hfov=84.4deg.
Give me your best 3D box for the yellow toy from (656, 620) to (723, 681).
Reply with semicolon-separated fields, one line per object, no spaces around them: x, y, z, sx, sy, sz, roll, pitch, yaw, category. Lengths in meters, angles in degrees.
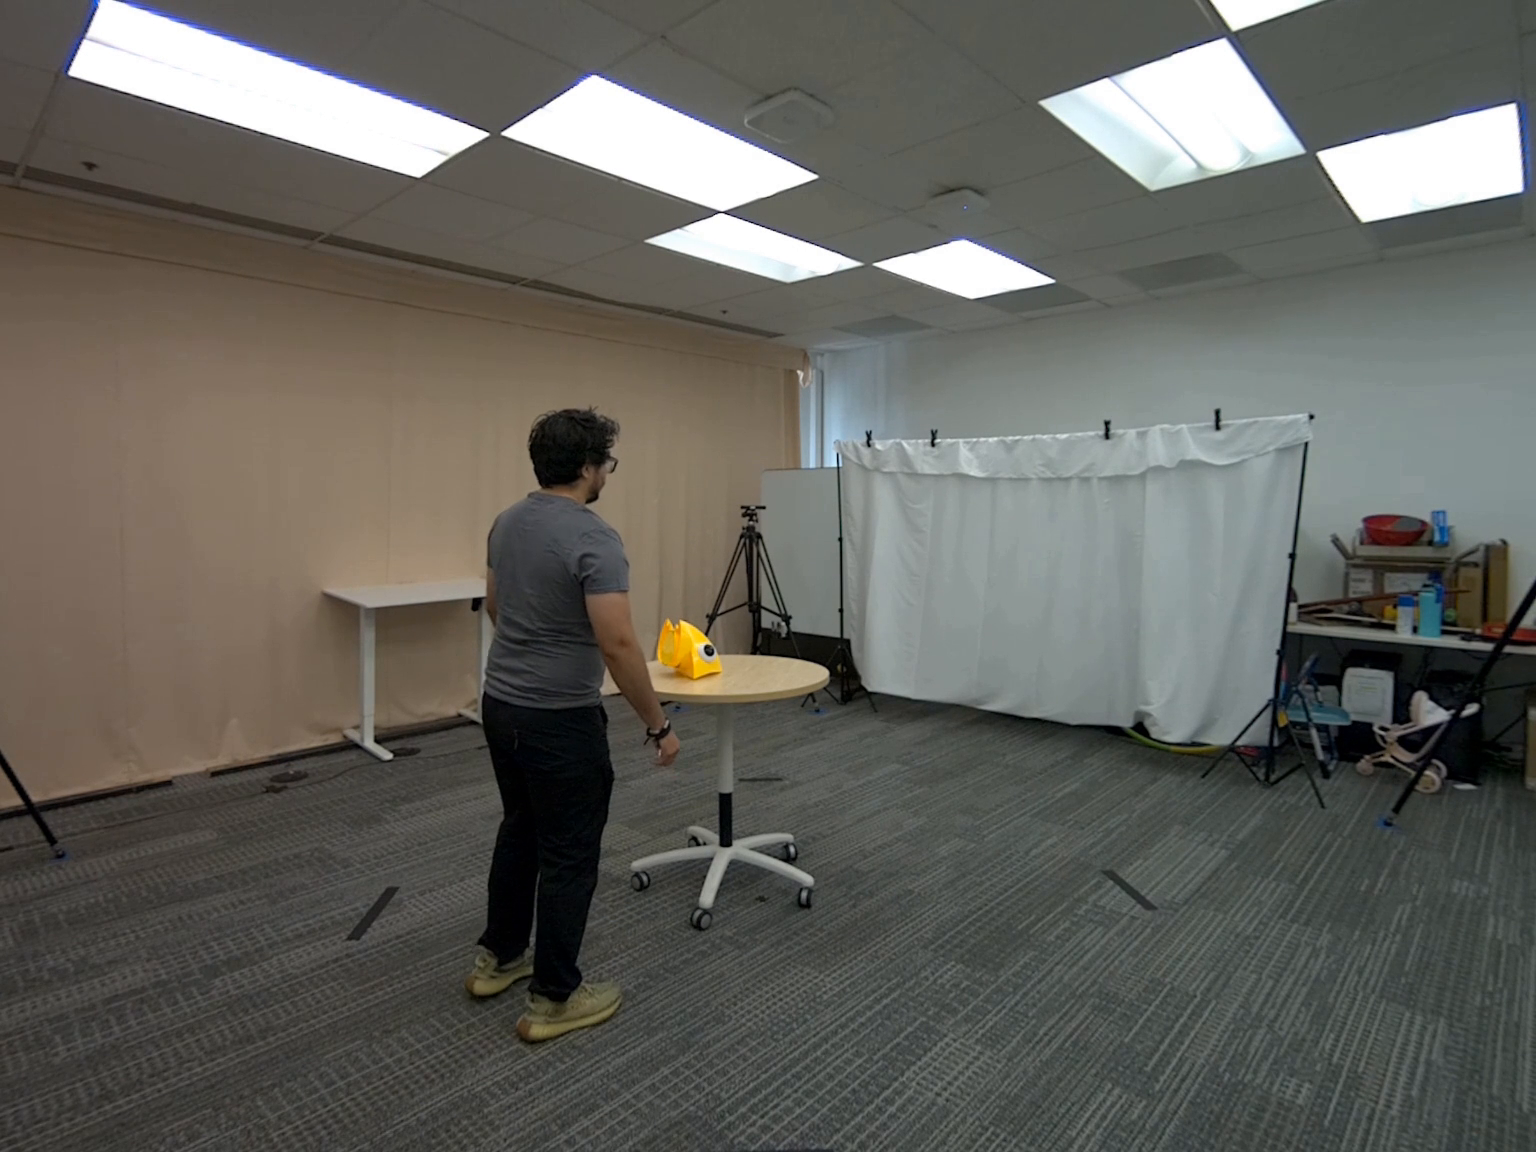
-0.257;0.270;3.050;0.225;0.193;0.210;12;-3;-25;yellow toy
